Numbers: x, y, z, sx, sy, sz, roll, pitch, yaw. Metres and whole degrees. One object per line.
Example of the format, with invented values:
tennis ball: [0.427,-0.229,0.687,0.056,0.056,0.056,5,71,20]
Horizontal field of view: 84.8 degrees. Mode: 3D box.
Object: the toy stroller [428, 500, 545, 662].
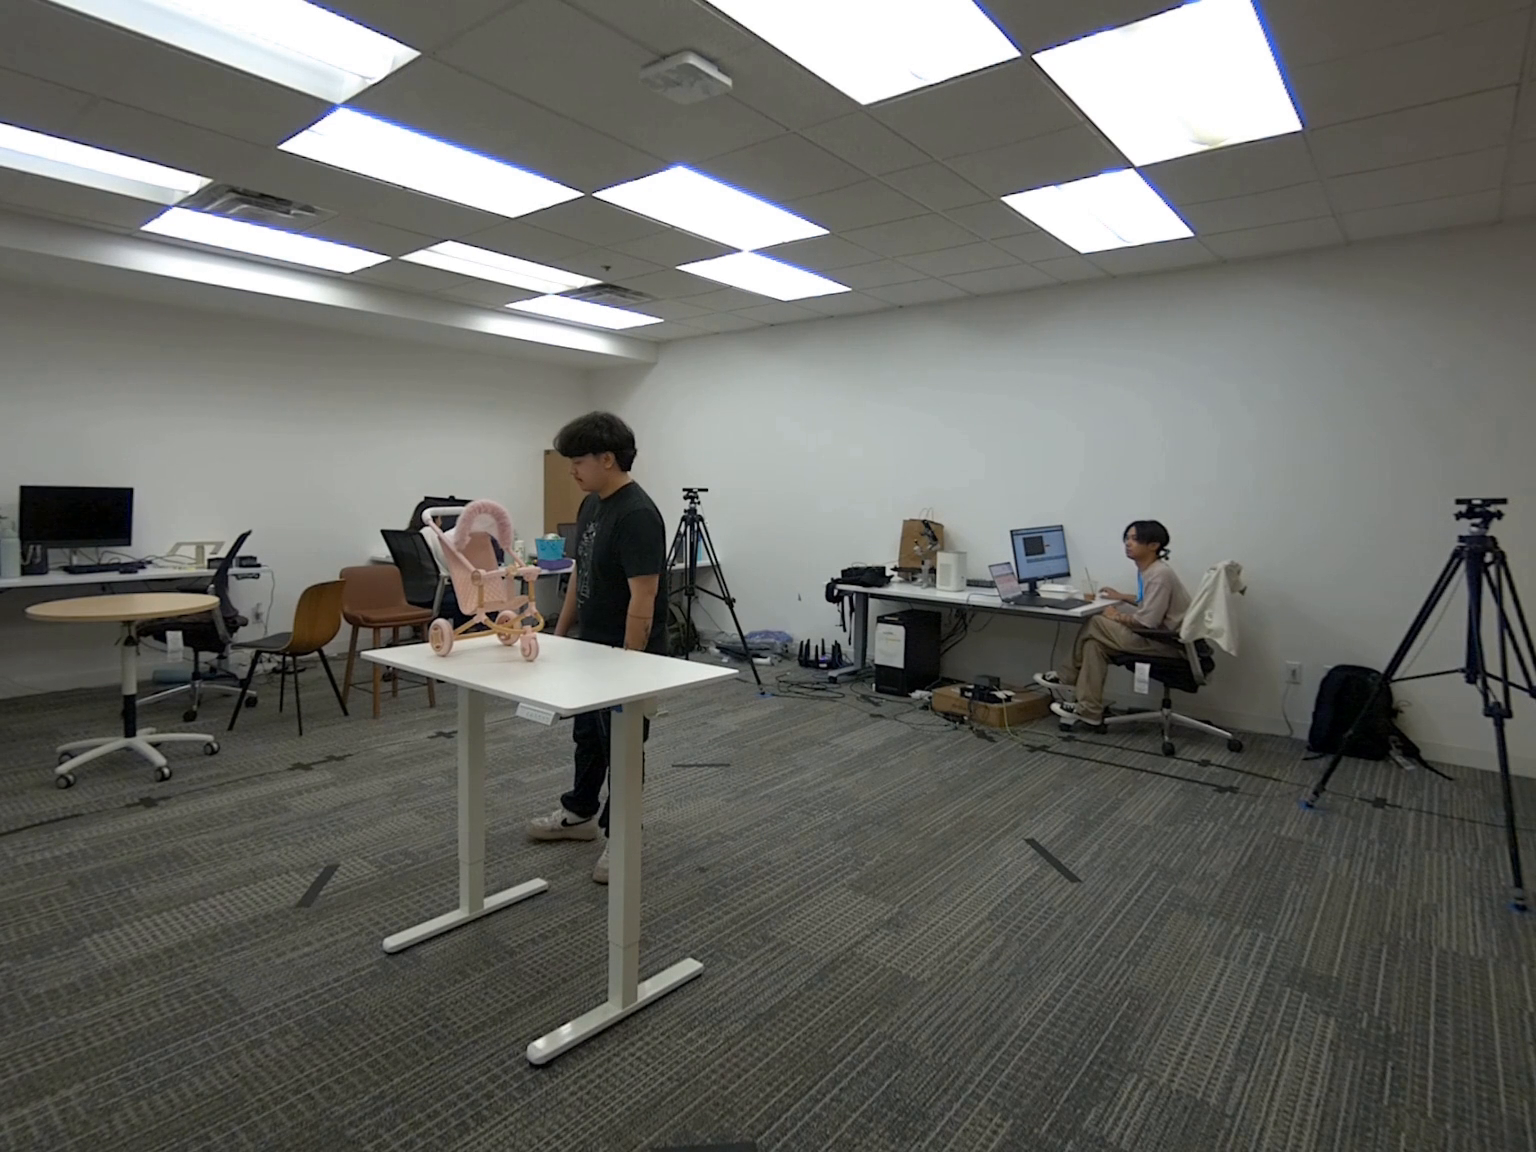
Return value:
toy stroller: [-0.855,0.006,2.562,0.349,0.540,0.273,-17,-9,40]
